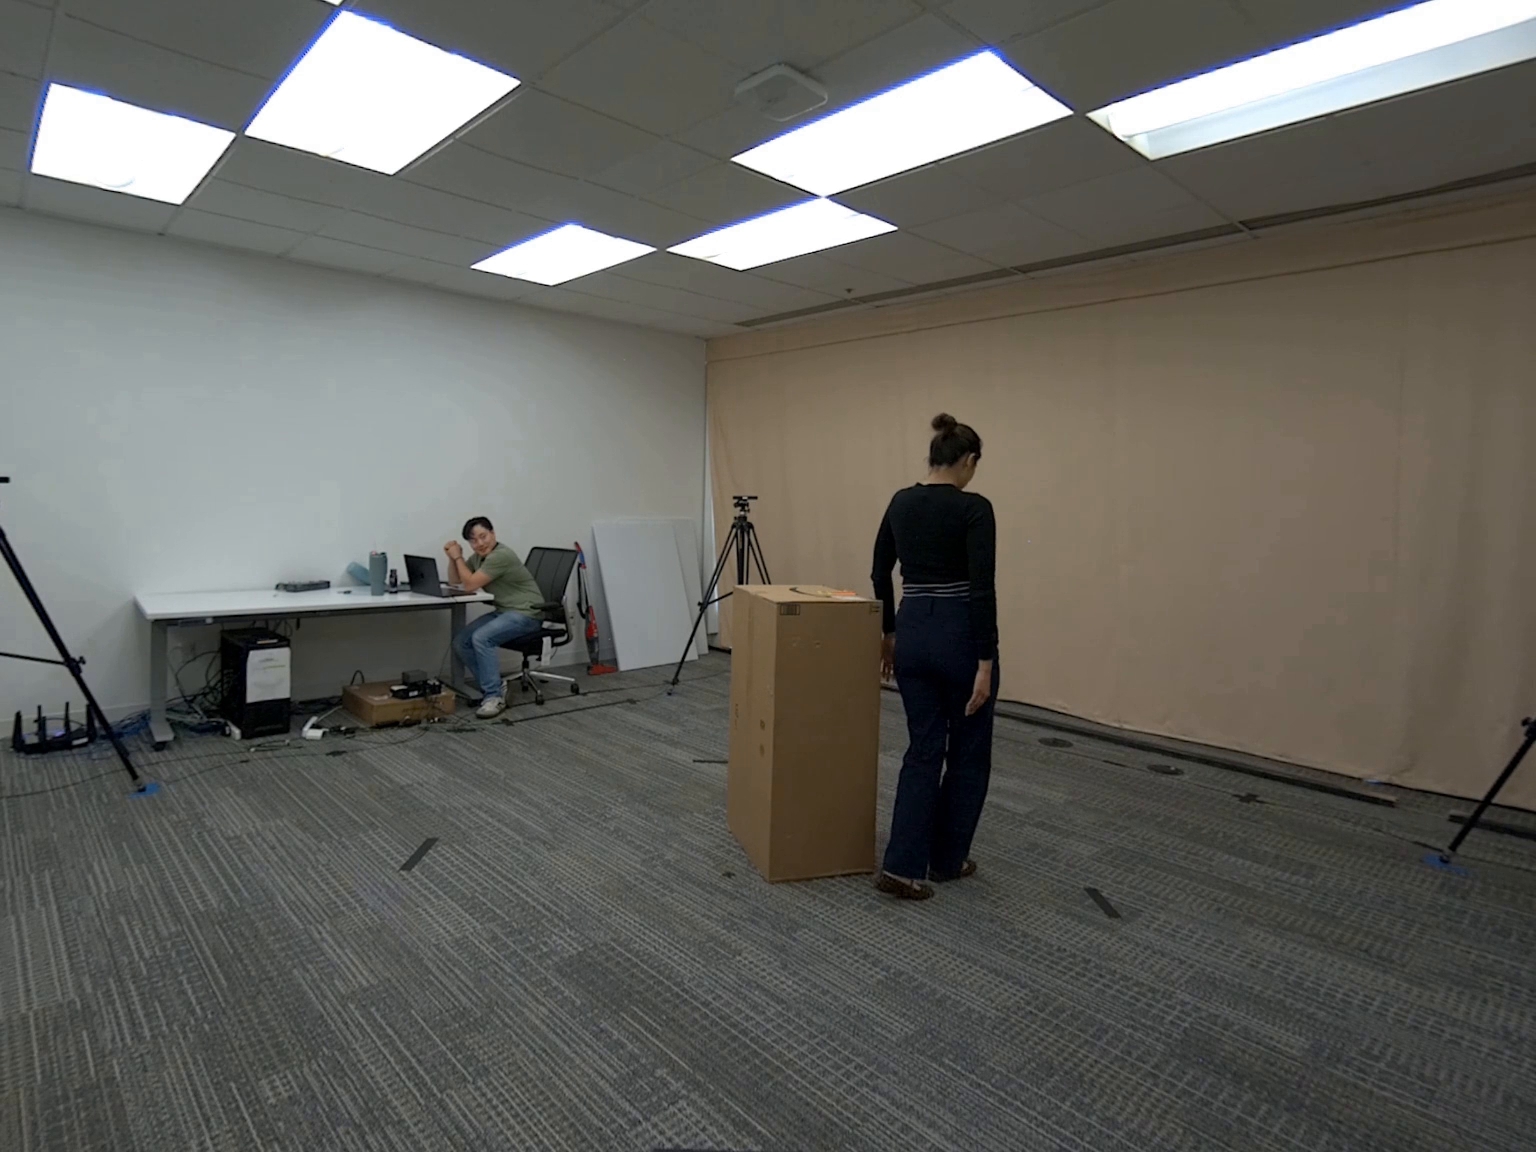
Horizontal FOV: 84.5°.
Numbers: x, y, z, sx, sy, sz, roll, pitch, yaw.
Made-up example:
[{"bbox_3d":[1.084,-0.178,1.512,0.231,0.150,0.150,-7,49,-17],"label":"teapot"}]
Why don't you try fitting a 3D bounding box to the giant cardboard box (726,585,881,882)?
[{"bbox_3d":[0.117,0.578,3.351,0.420,1.024,0.587,1,3,-19],"label":"giant cardboard box"}]
